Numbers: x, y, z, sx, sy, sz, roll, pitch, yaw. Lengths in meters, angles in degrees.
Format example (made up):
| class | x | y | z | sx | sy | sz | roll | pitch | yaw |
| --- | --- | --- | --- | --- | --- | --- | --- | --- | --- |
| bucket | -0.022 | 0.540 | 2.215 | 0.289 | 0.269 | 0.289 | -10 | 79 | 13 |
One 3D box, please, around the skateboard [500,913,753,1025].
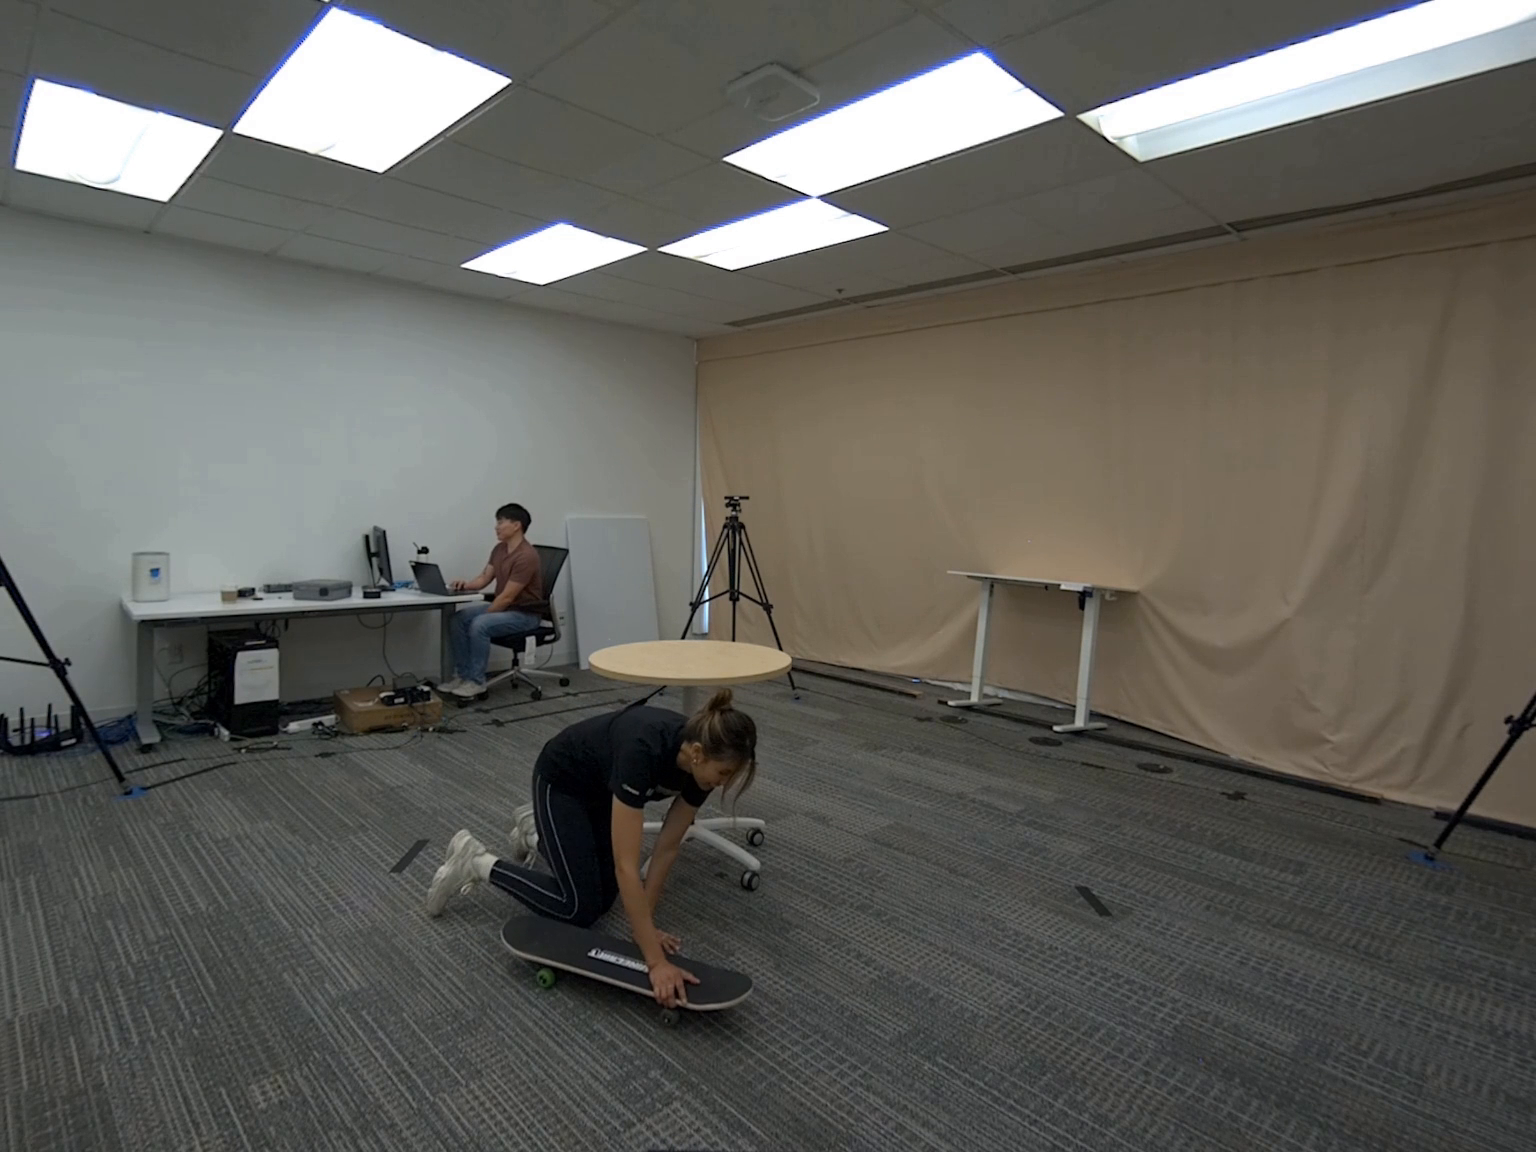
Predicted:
| class | x | y | z | sx | sy | sz | roll | pitch | yaw |
| --- | --- | --- | --- | --- | --- | --- | --- | --- | --- |
| skateboard | -0.422 | 1.114 | 2.355 | 0.800 | 0.110 | 0.190 | 3 | 5 | 24 |
